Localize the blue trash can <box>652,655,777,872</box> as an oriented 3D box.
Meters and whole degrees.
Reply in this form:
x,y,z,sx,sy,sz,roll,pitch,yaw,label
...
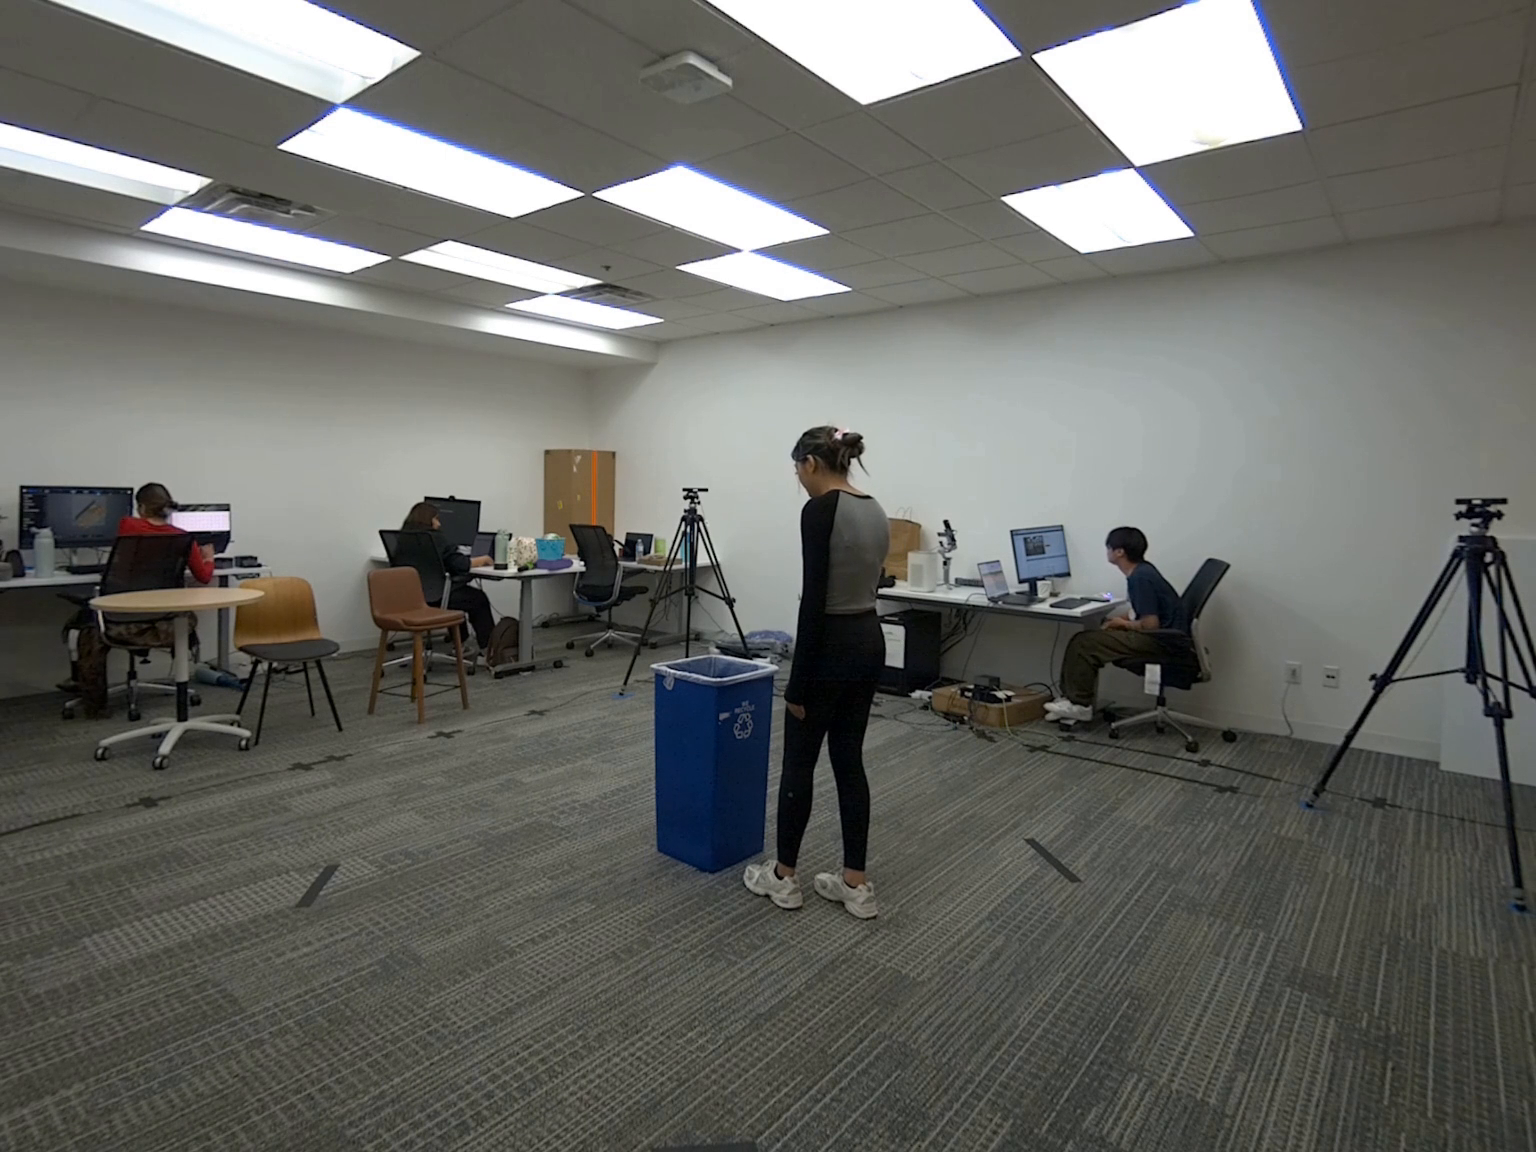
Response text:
x,y,z,sx,sy,sz,roll,pitch,yaw,label
-0.222,0.696,3.268,0.391,0.711,0.363,4,4,40,blue trash can
